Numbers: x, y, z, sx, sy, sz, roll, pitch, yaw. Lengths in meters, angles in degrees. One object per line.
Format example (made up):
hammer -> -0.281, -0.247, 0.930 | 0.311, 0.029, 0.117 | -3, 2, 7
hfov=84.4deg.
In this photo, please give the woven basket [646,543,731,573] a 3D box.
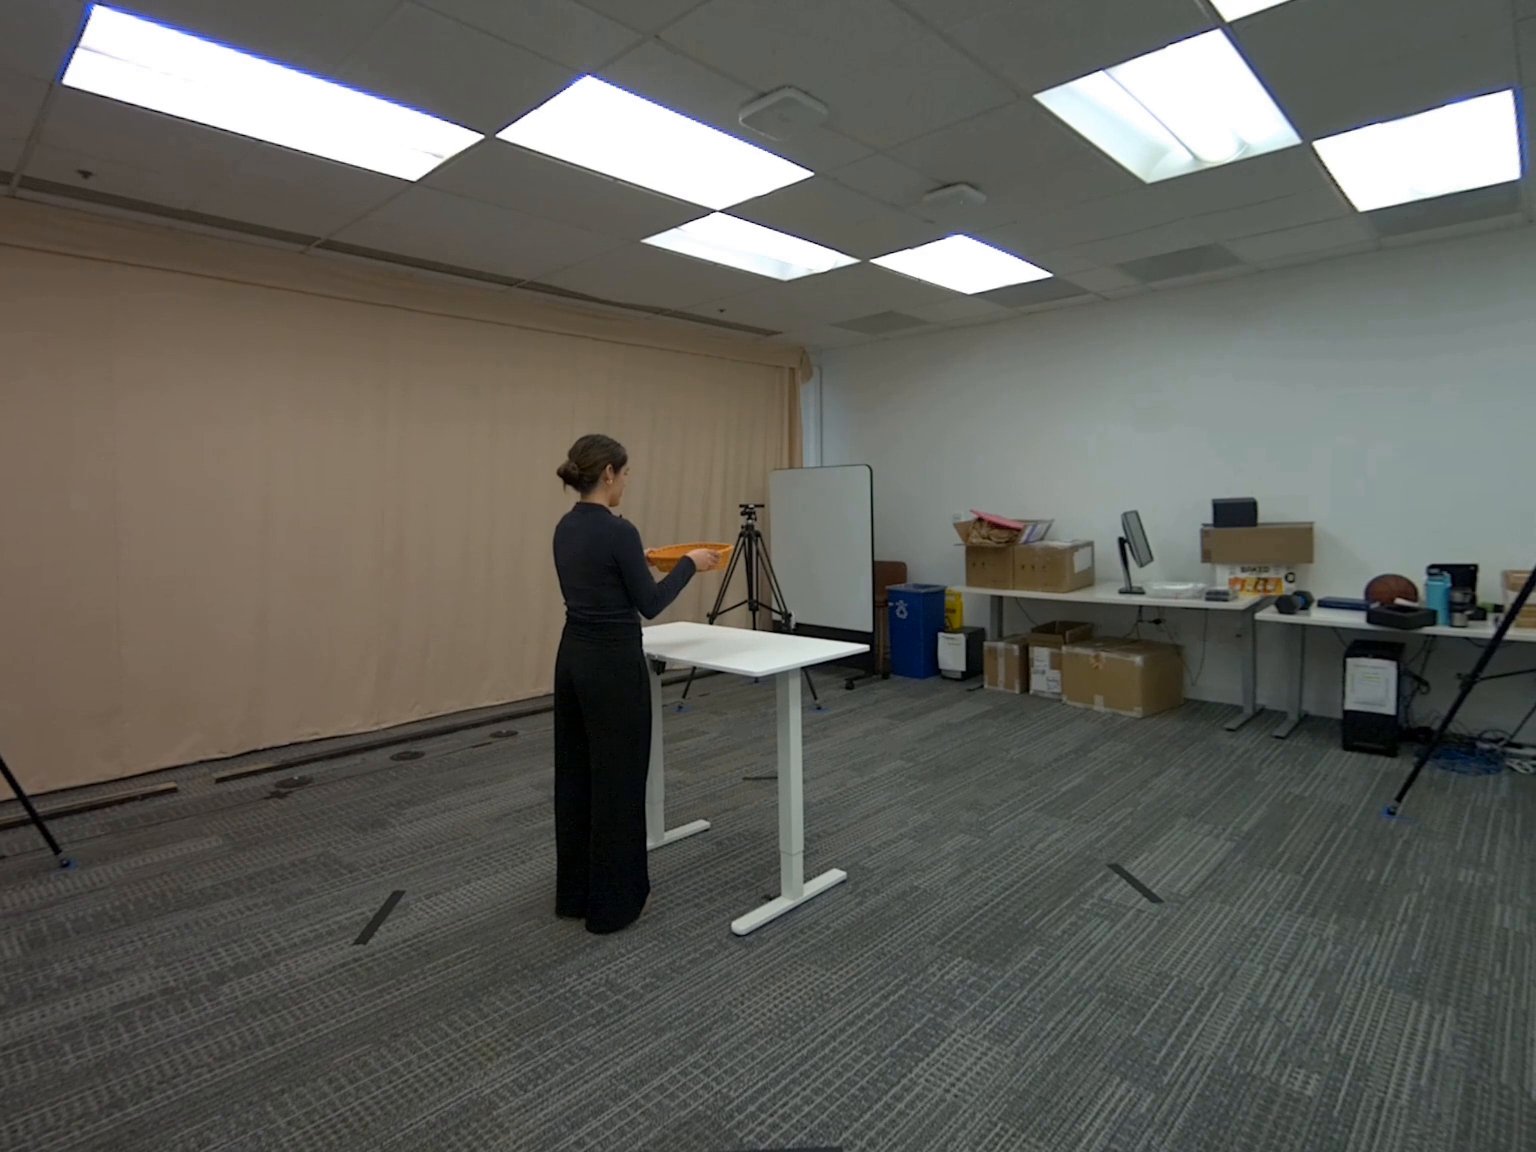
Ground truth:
woven basket -> -0.309, -0.055, 3.075 | 0.246, 0.073, 0.362 | -14, 12, -39
